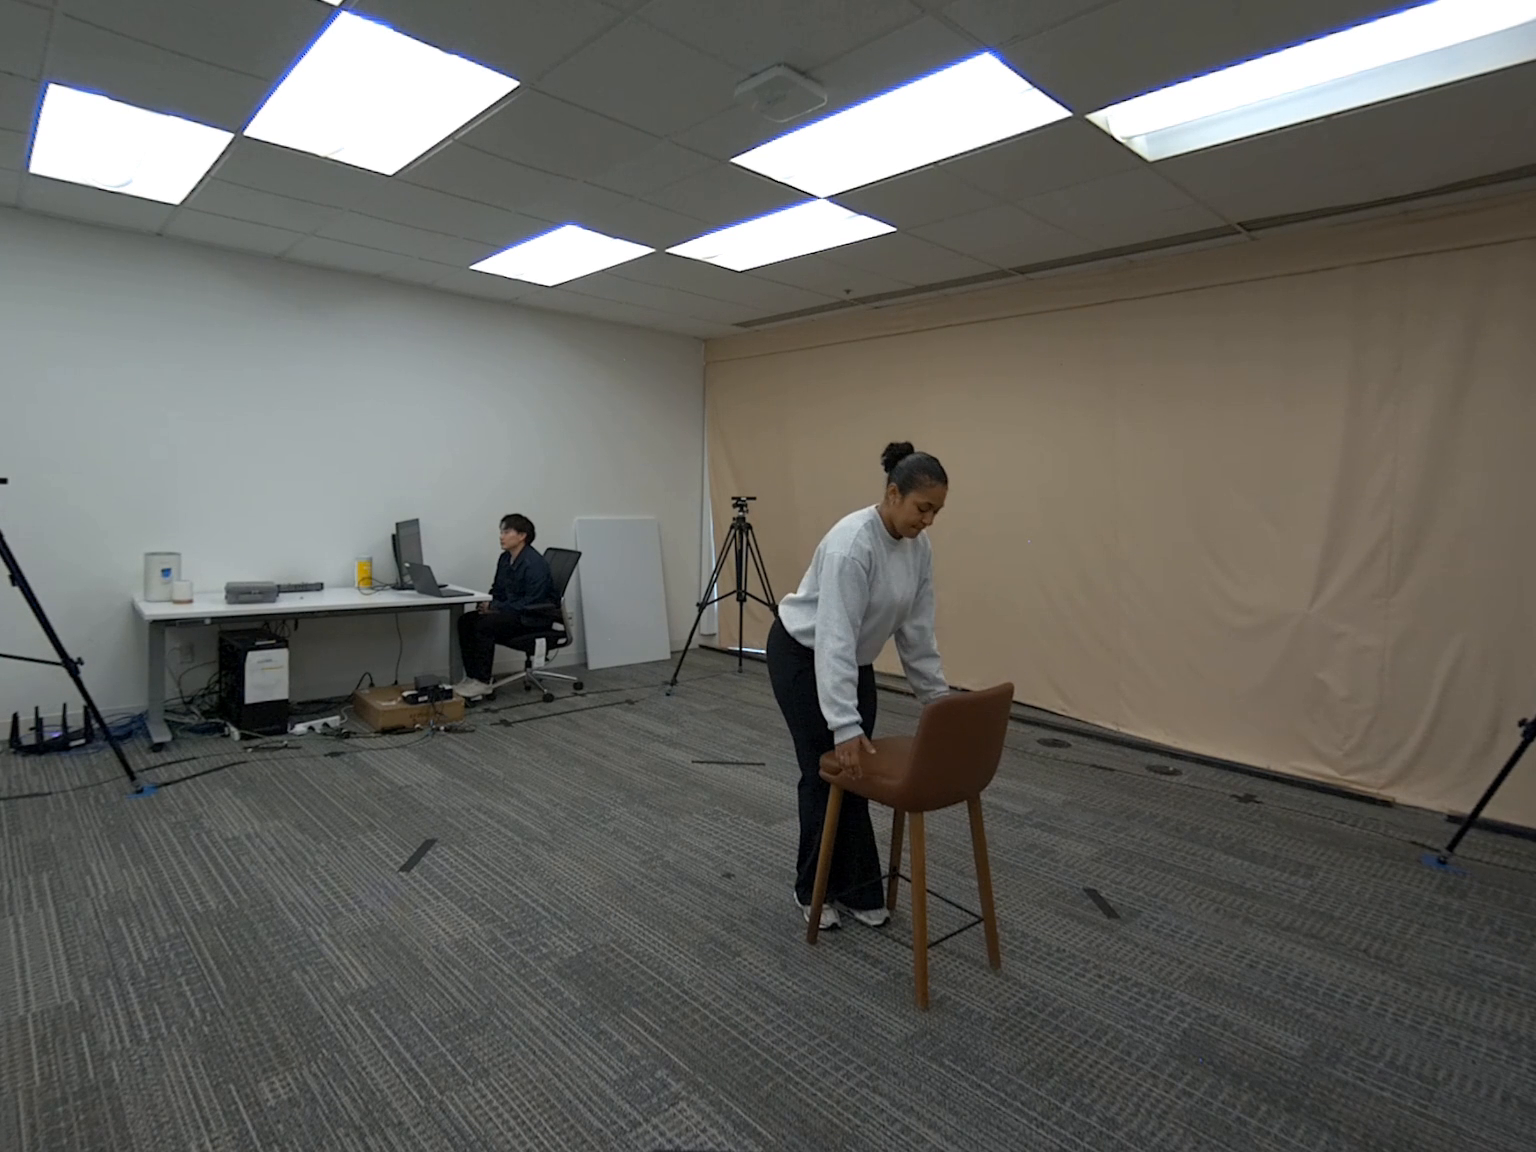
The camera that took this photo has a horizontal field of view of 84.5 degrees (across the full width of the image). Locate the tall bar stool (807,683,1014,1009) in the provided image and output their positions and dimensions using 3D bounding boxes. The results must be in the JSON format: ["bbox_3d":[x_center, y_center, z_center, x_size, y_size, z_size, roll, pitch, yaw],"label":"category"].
[{"bbox_3d":[0.434,0.730,2.561,0.446,0.886,0.480,-2,7,-41],"label":"tall bar stool"}]
